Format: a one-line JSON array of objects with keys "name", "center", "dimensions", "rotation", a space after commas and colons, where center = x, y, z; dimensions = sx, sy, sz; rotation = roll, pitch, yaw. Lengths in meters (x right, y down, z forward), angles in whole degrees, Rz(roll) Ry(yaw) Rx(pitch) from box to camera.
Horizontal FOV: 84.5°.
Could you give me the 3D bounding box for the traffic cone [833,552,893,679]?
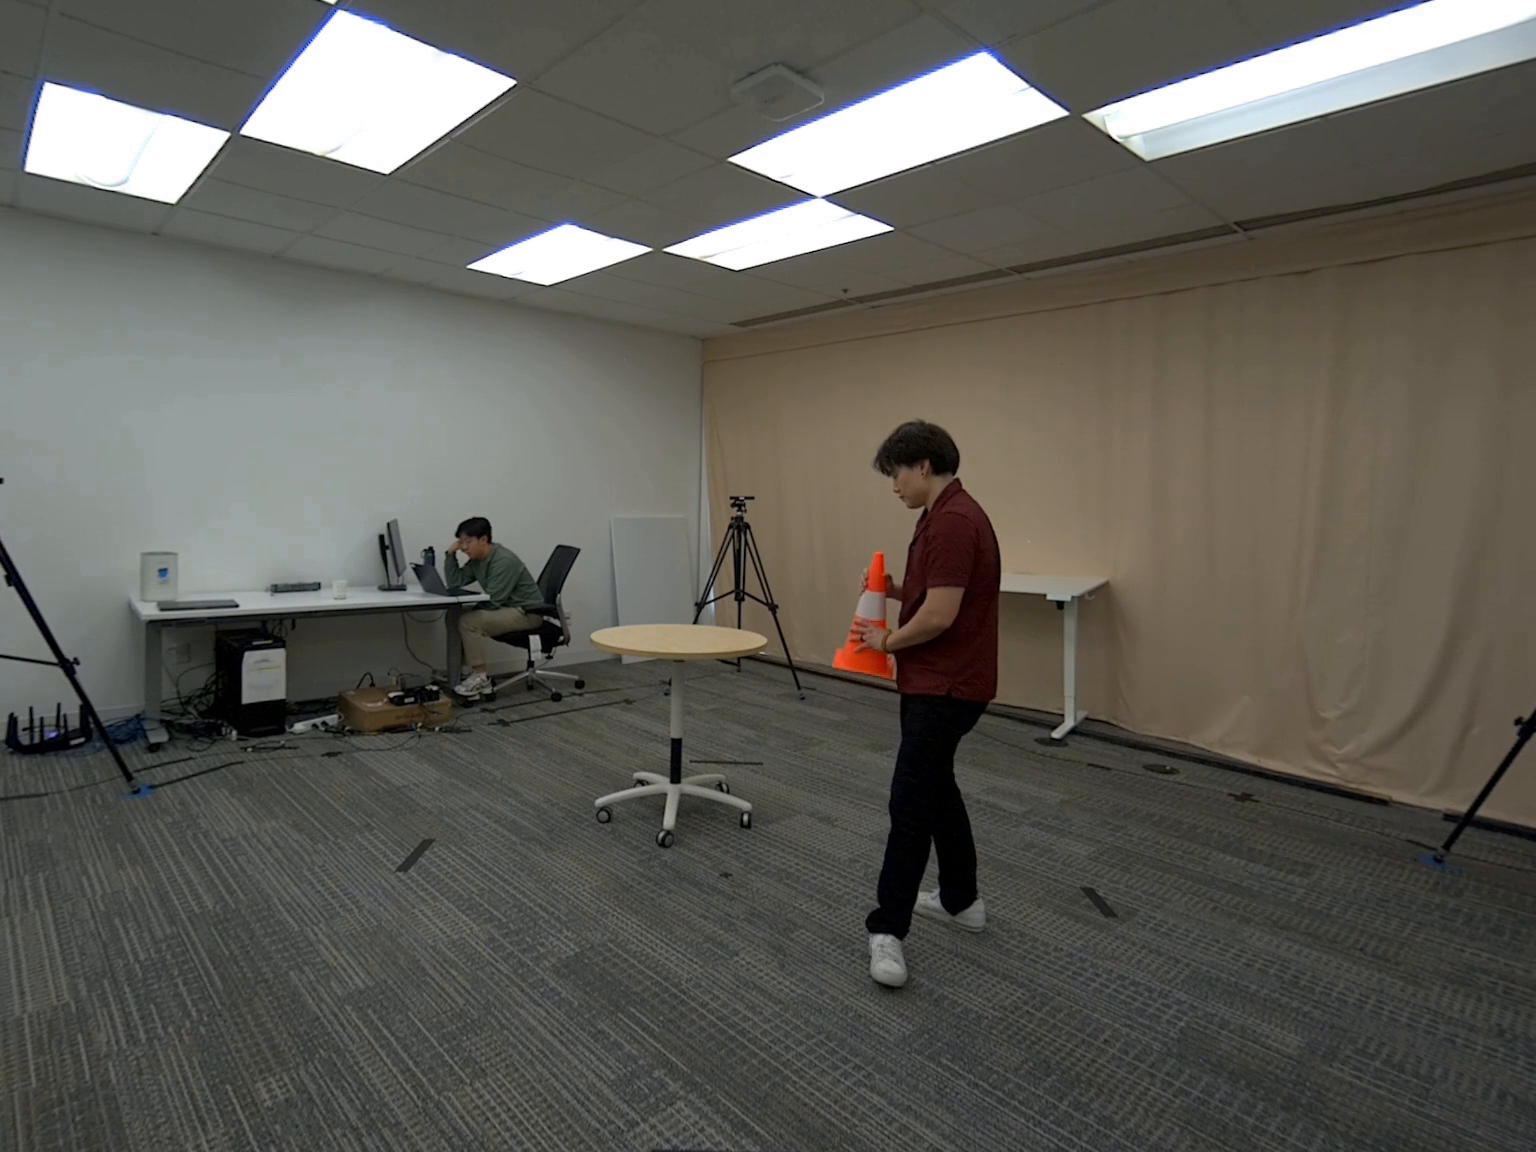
[{"name": "traffic cone", "center": [0.342, 0.107, 2.780], "dimensions": [0.206, 0.381, 0.203], "rotation": [9, 10, 14]}]
